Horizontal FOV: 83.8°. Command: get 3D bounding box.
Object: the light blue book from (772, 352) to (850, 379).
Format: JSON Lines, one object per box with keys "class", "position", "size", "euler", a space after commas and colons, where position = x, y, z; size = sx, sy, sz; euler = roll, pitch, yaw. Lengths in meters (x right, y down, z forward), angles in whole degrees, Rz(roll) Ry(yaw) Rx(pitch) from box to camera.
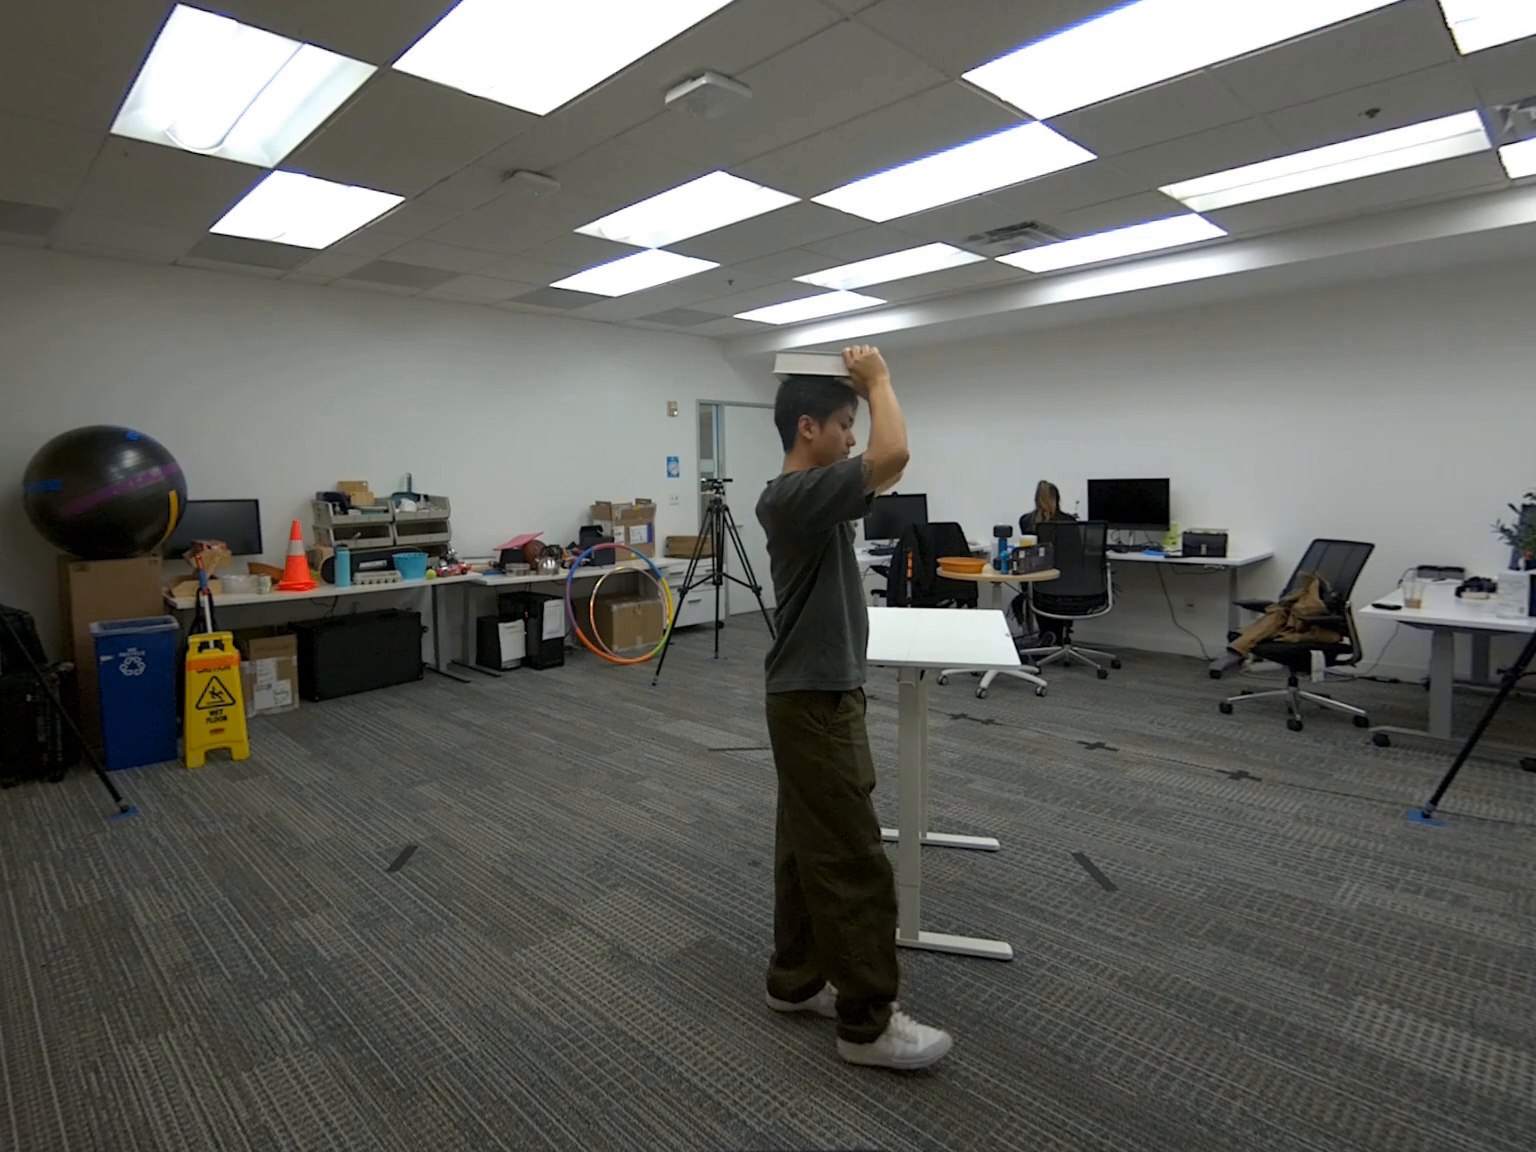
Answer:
{"class": "light blue book", "position": [0.170, -0.530, 2.187], "size": [0.264, 0.059, 0.190], "euler": [7, 6, 10]}
